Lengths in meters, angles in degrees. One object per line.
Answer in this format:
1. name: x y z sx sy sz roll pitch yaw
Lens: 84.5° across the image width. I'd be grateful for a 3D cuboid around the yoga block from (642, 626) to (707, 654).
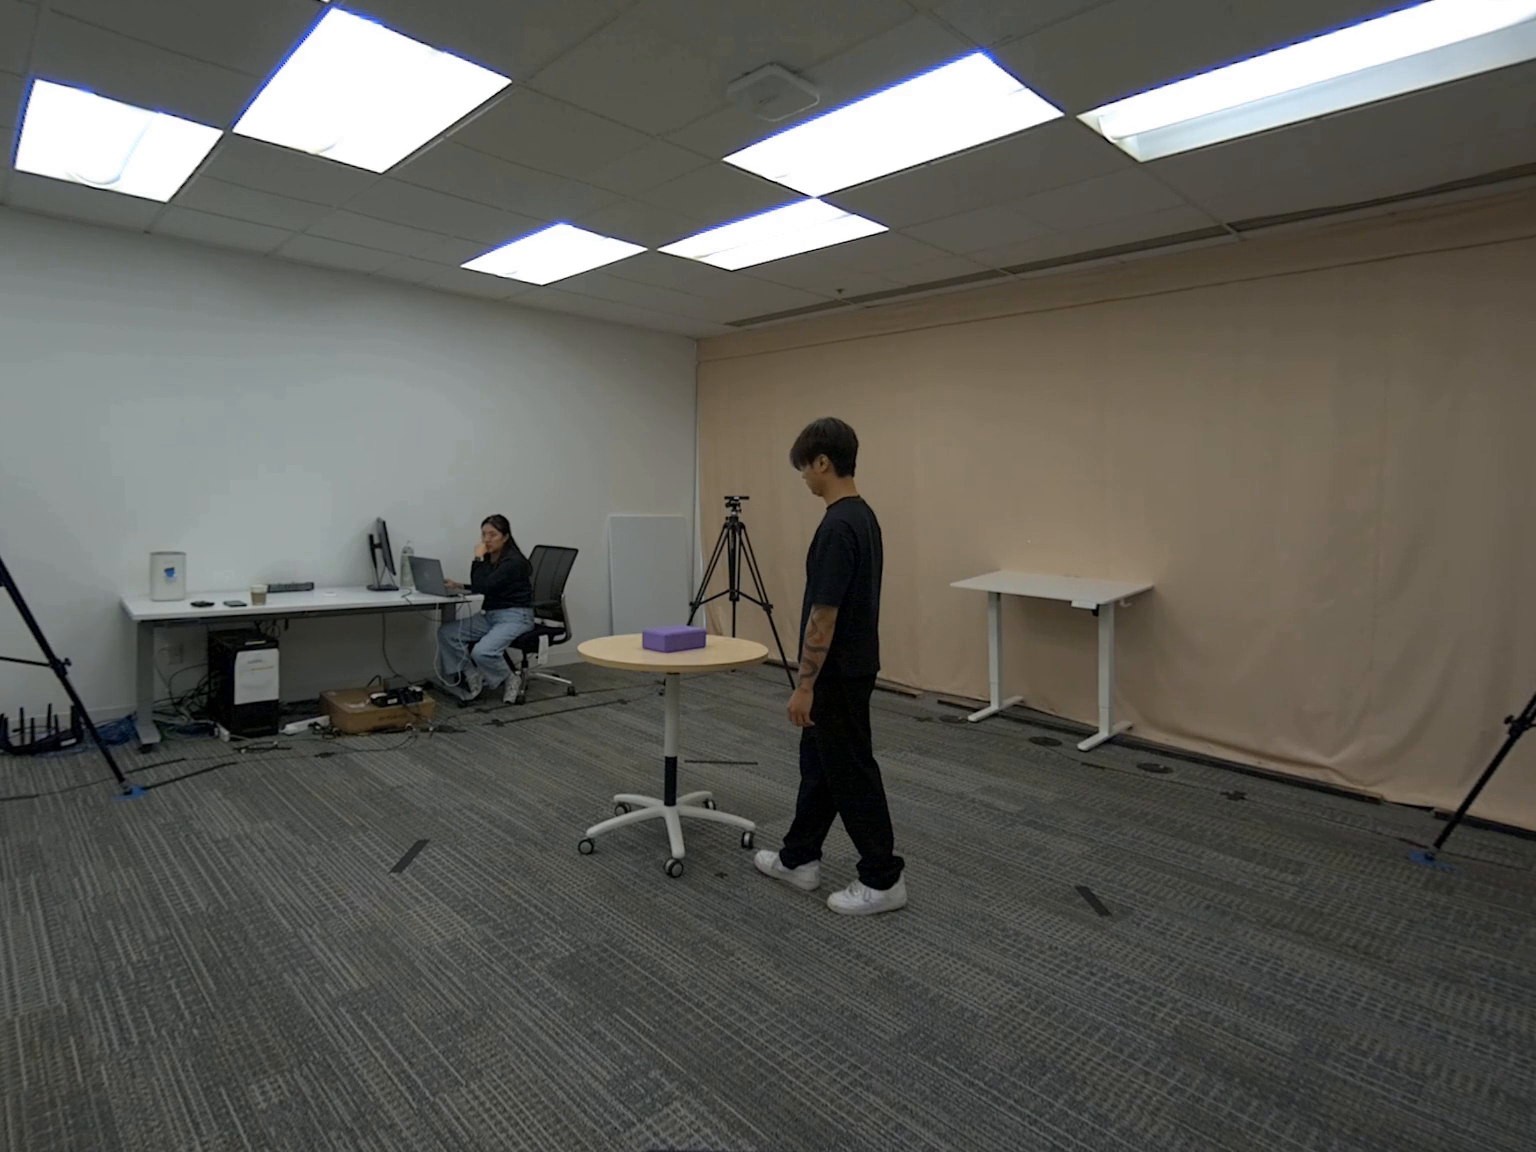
1. yoga block: -0.378 0.251 3.379 0.153 0.076 0.224 4 5 41
